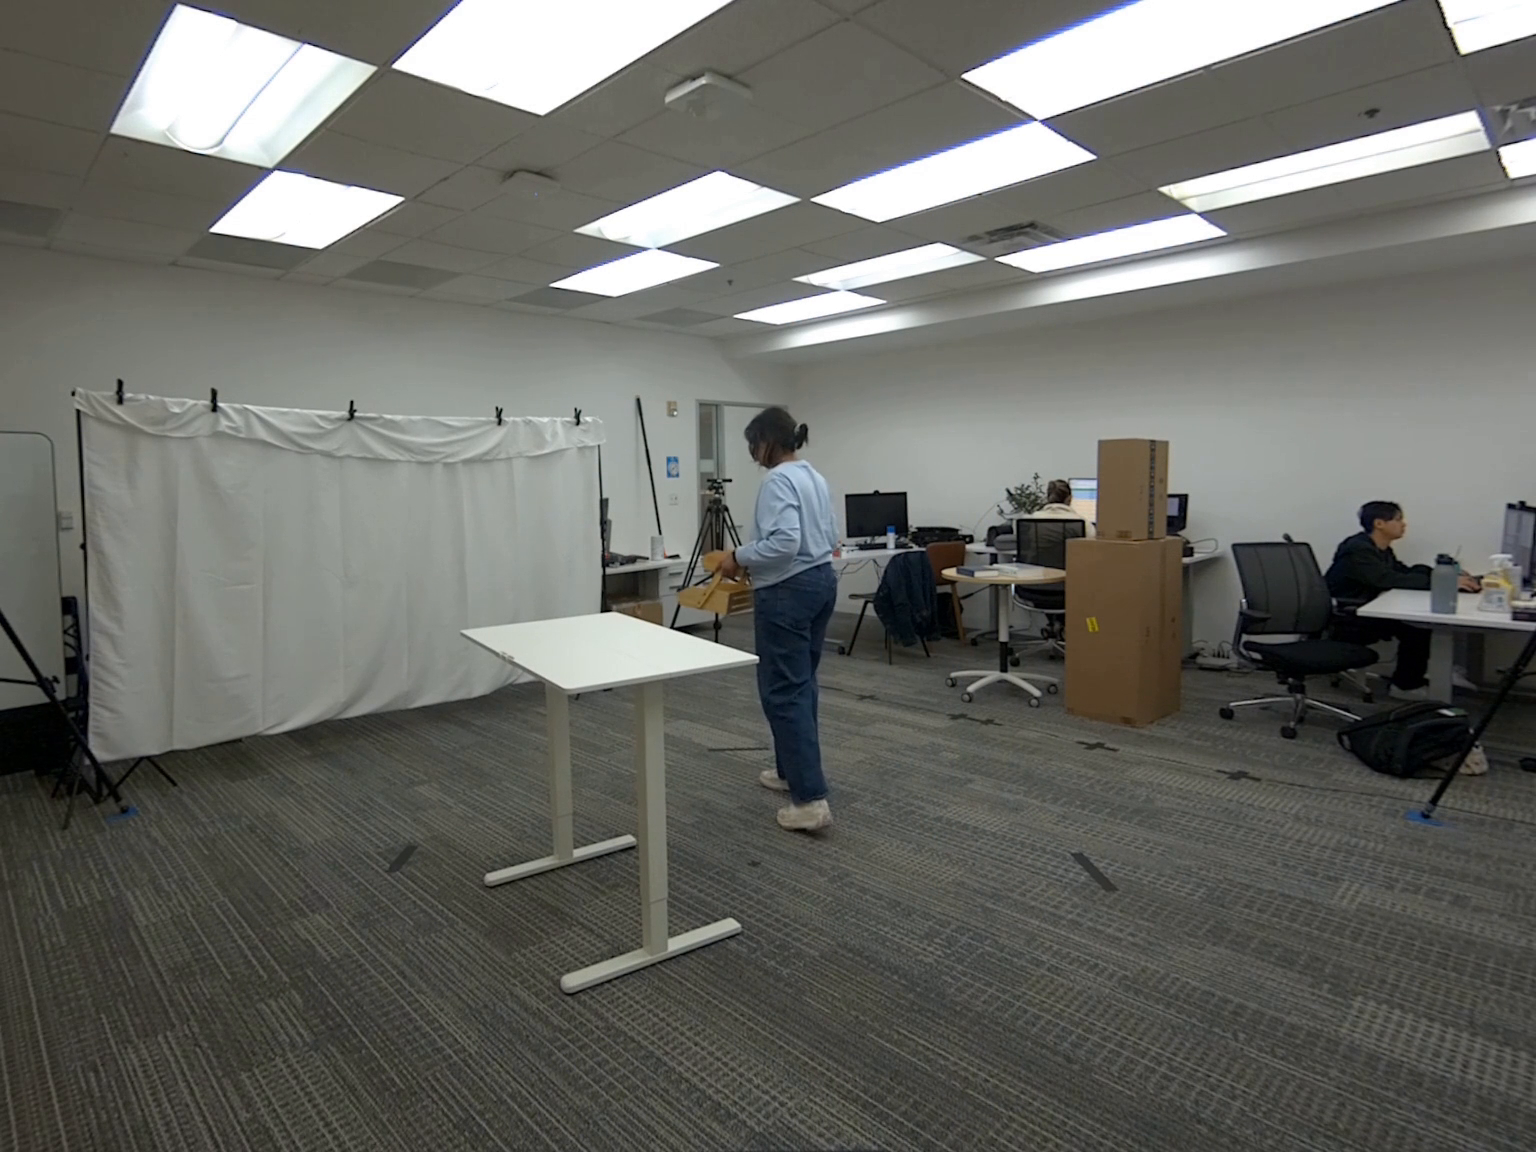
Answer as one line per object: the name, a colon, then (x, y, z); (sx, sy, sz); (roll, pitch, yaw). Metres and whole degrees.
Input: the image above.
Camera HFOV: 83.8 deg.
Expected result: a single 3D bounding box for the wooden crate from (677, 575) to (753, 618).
wooden crate: (-0.185, 0.001, 3.765); (0.310, 0.272, 0.317); (9, 7, 25)
